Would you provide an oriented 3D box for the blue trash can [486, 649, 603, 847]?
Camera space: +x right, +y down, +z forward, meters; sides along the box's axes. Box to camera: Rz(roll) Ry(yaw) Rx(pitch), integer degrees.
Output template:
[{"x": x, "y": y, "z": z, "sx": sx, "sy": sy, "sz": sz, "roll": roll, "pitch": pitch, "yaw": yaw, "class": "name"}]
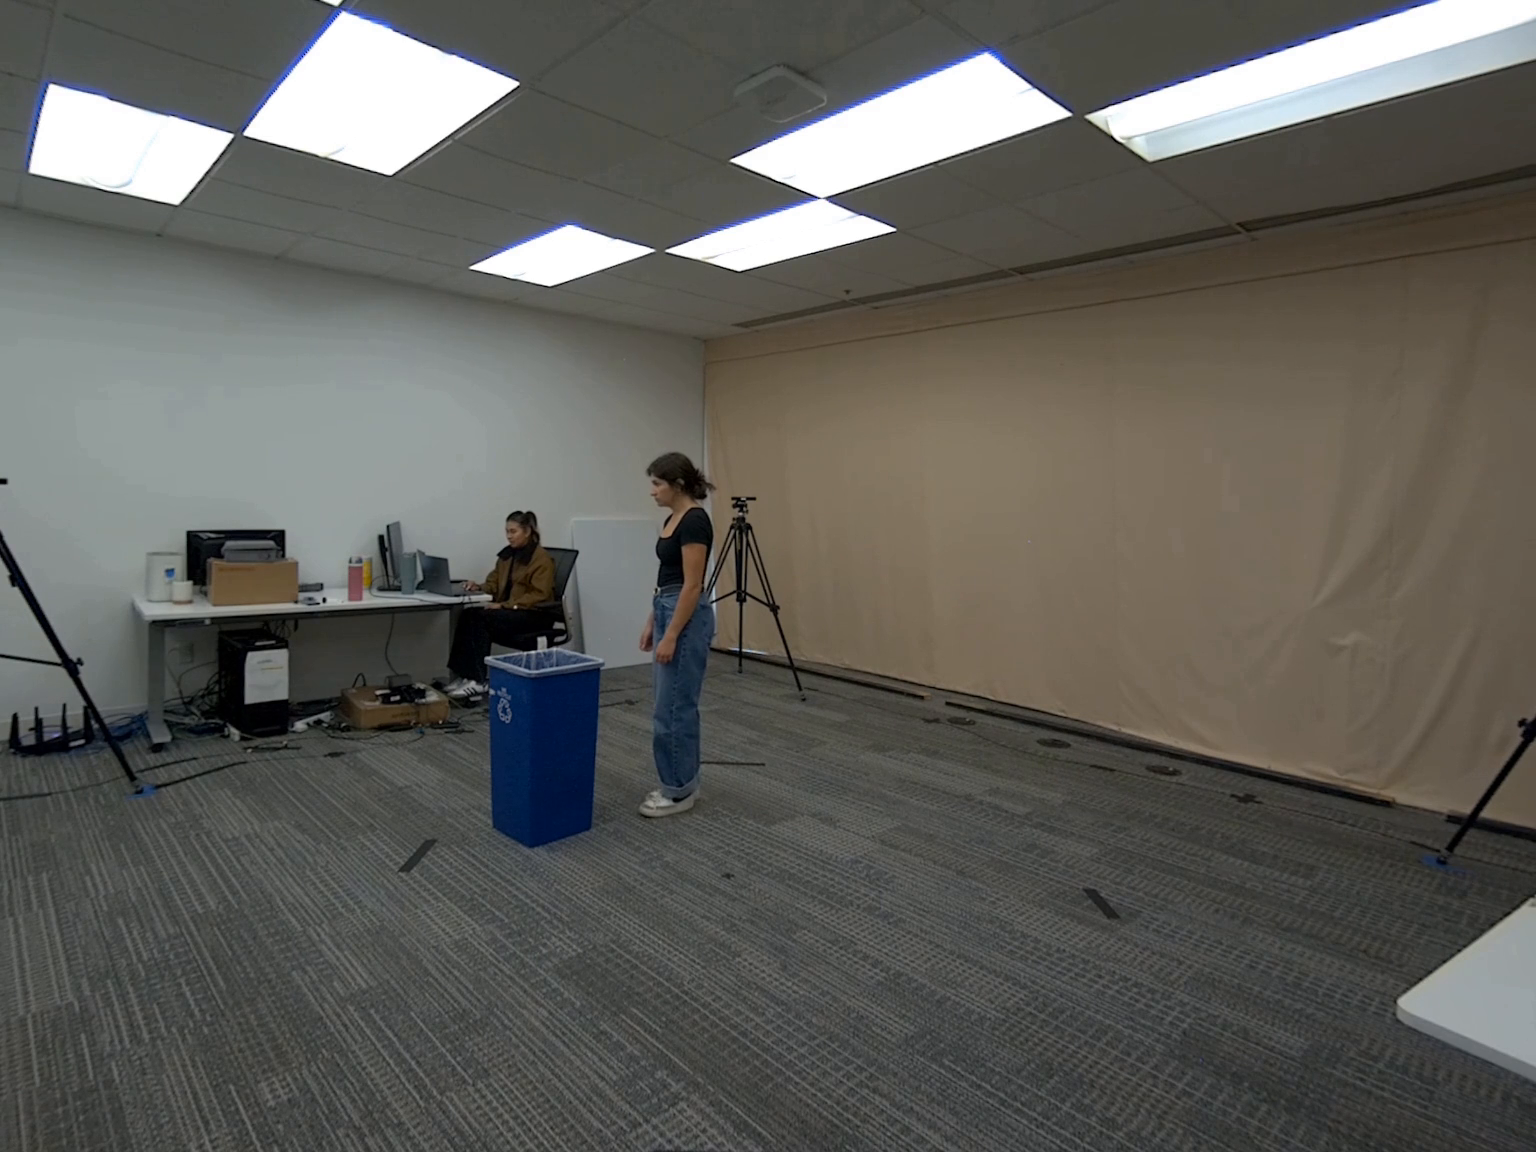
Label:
[{"x": -0.934, "y": 0.697, "z": 3.489, "sx": 0.383, "sy": 0.711, "sz": 0.369, "roll": 5, "pitch": 5, "yaw": 43, "class": "blue trash can"}]
